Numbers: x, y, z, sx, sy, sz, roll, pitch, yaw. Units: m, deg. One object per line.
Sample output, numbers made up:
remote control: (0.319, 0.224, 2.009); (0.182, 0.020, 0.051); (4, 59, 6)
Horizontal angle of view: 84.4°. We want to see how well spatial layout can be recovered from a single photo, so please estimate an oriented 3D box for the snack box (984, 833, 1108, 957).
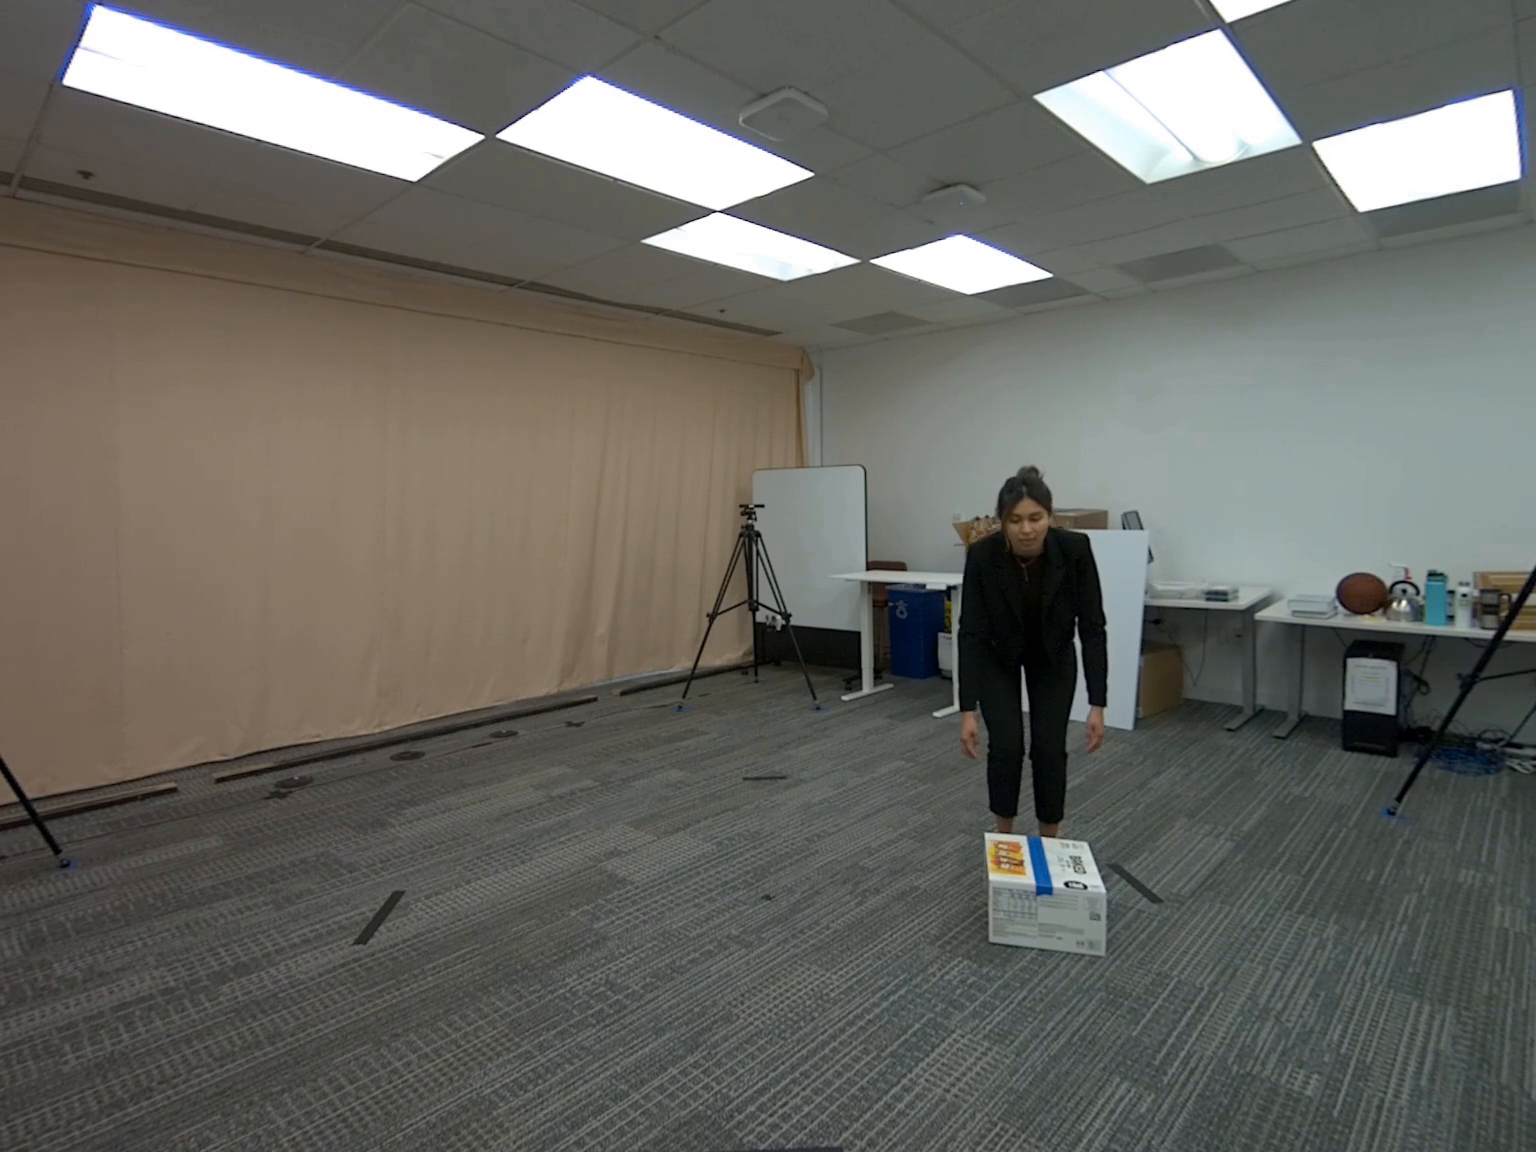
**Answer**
snack box: (0.910, 1.041, 2.788); (0.346, 0.205, 0.400); (0, 4, 14)
